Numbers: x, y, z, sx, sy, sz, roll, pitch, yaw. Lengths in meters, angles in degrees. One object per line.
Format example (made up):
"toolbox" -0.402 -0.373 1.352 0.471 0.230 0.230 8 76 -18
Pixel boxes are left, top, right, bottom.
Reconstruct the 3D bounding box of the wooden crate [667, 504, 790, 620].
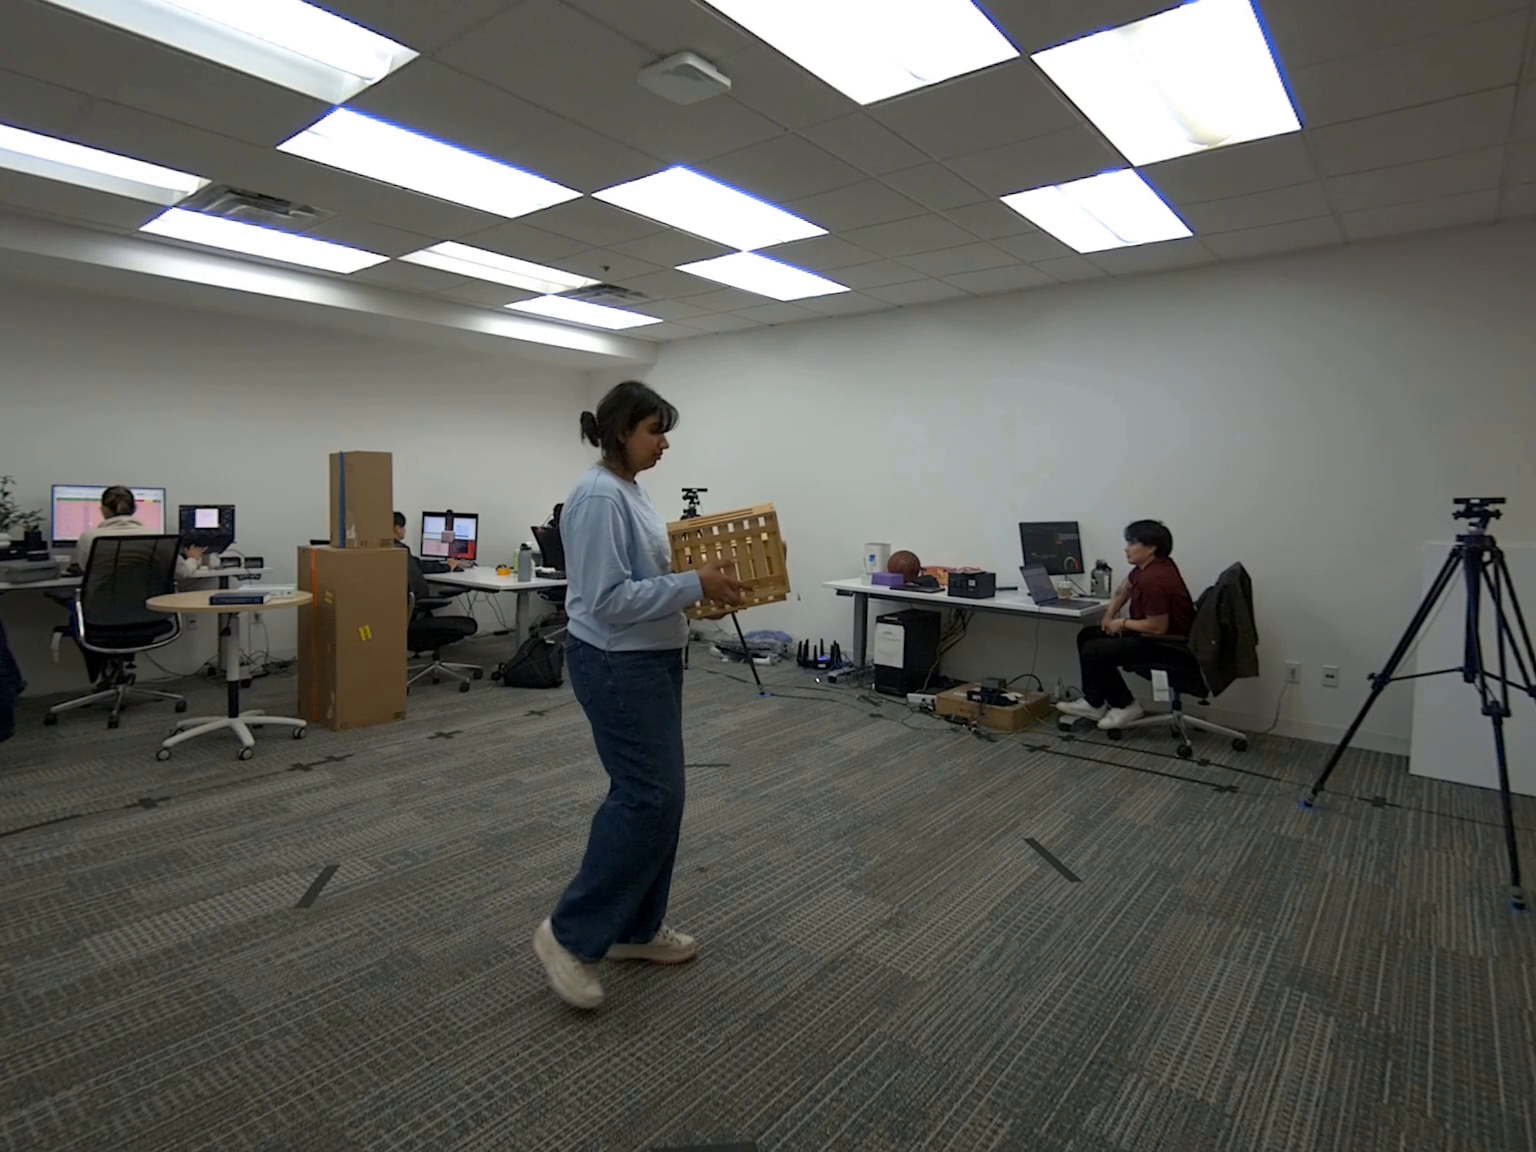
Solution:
"wooden crate" -0.125 -0.039 2.447 0.324 0.300 0.275 -11 5 -3
